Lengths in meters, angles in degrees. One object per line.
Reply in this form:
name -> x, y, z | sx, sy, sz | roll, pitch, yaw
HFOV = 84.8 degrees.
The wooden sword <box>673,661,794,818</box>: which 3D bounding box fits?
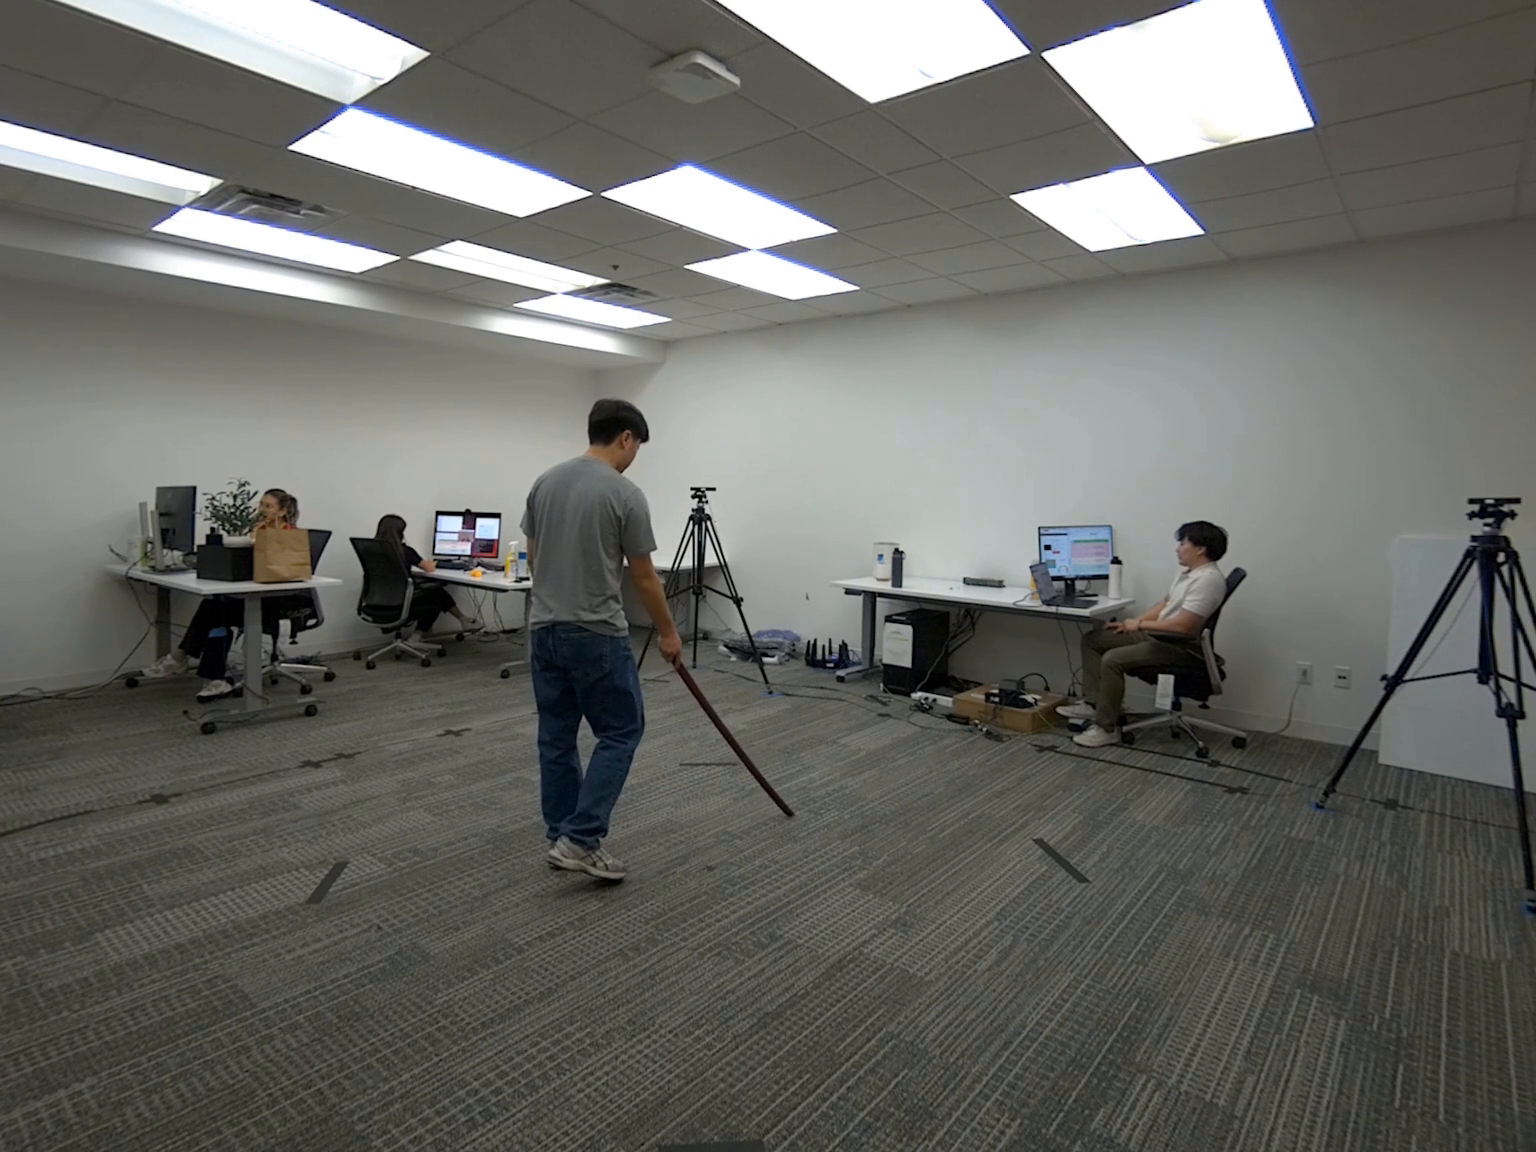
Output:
wooden sword -> -0.165, 0.652, 3.437 | 0.024, 0.994, 0.052 | -24, 25, 20
